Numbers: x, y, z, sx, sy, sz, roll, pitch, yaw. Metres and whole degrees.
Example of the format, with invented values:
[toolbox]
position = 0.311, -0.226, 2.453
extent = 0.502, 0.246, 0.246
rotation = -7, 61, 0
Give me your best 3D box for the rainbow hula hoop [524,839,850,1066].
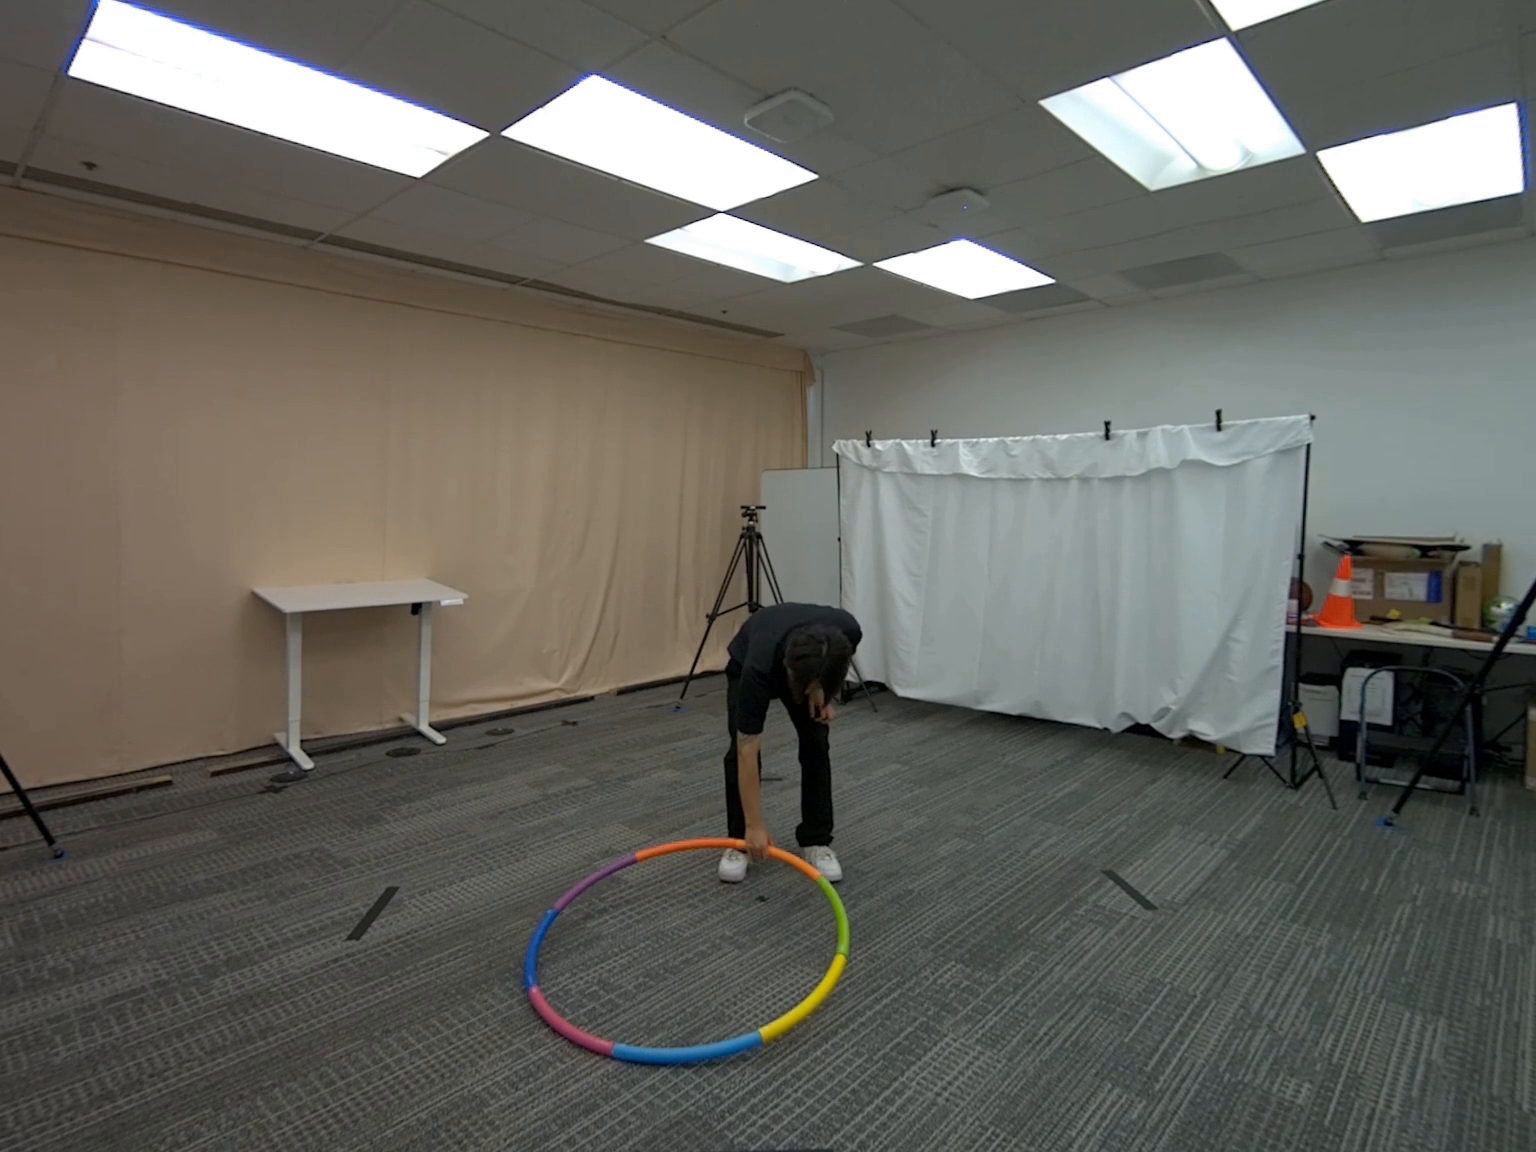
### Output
[rainbow hula hoop]
position = -0.240, 1.076, 2.565
extent = 0.979, 0.035, 0.987
rotation = -6, 13, -1
